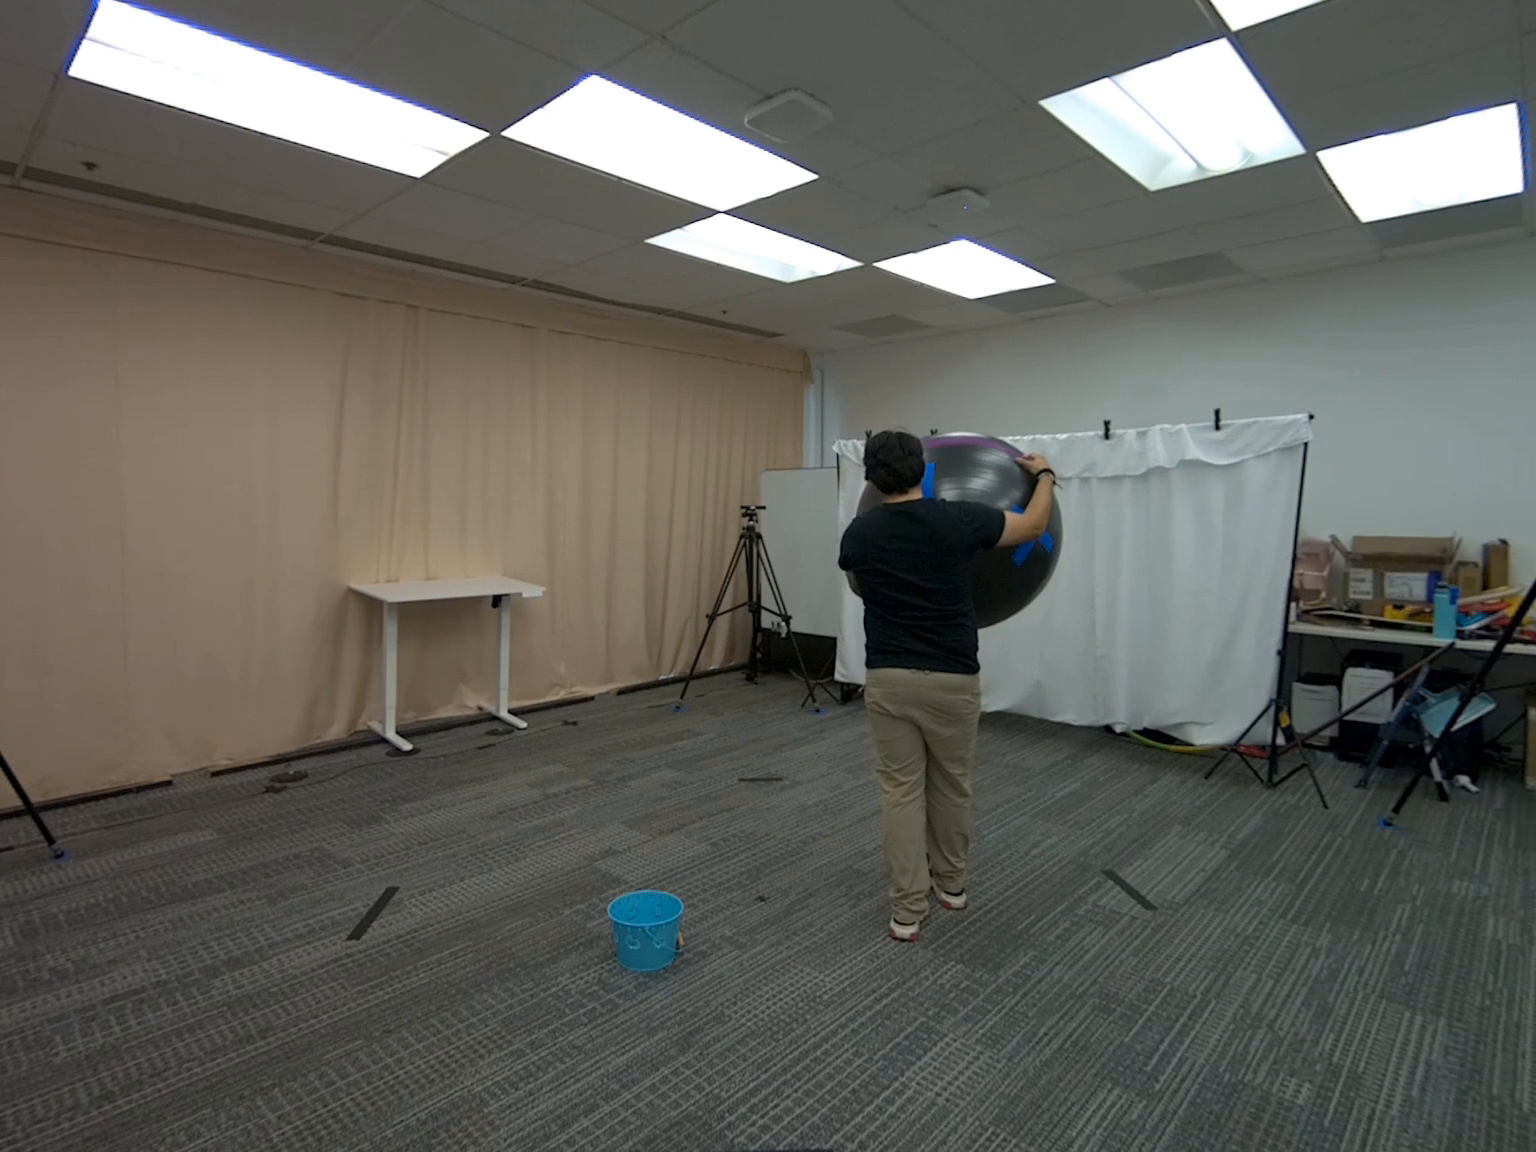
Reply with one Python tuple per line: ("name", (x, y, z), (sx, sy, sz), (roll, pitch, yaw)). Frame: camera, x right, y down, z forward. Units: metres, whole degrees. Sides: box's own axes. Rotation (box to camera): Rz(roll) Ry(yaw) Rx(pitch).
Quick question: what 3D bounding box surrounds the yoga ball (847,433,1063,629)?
("yoga ball", (0.727, -0.164, 3.226), (0.757, 0.756, 0.760), (0, 4, -2))
